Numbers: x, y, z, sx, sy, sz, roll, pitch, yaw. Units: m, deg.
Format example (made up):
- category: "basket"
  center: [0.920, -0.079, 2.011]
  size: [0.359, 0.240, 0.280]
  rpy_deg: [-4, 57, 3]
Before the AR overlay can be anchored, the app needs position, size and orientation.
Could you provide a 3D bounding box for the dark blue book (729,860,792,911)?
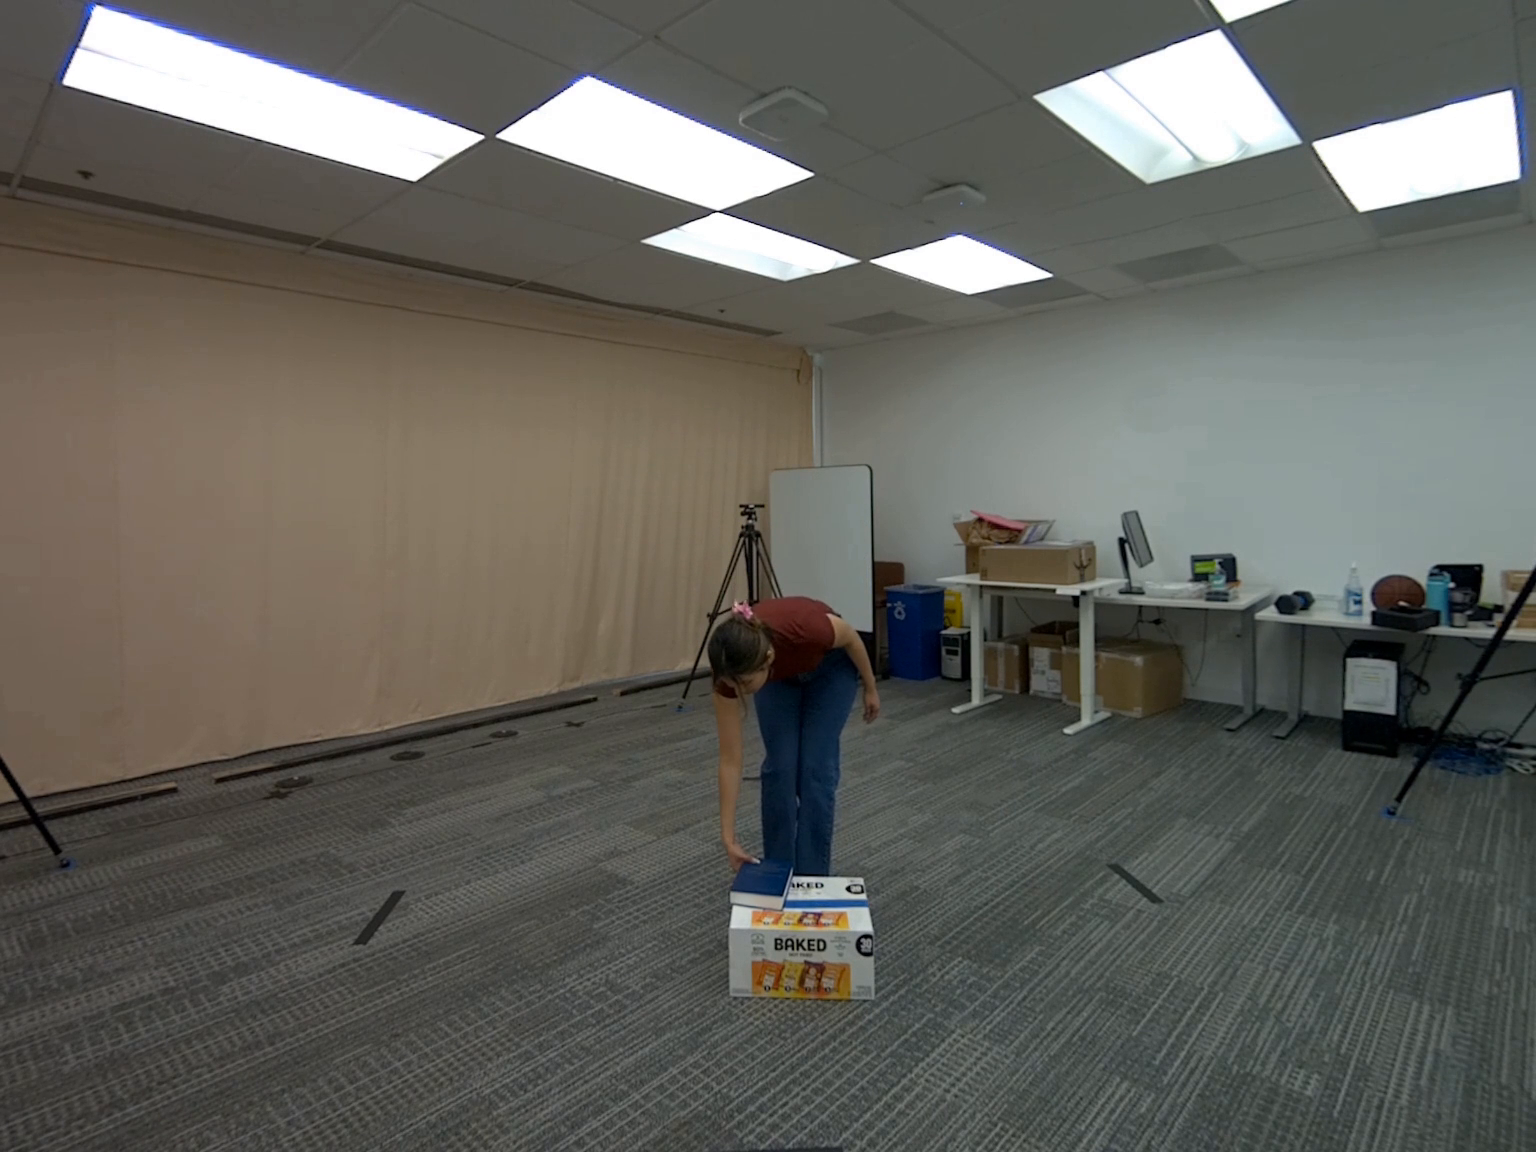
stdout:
- category: "dark blue book"
  center: [-0.018, 0.938, 2.609]
  size: [0.165, 0.045, 0.243]
  rpy_deg: [1, 6, 11]
